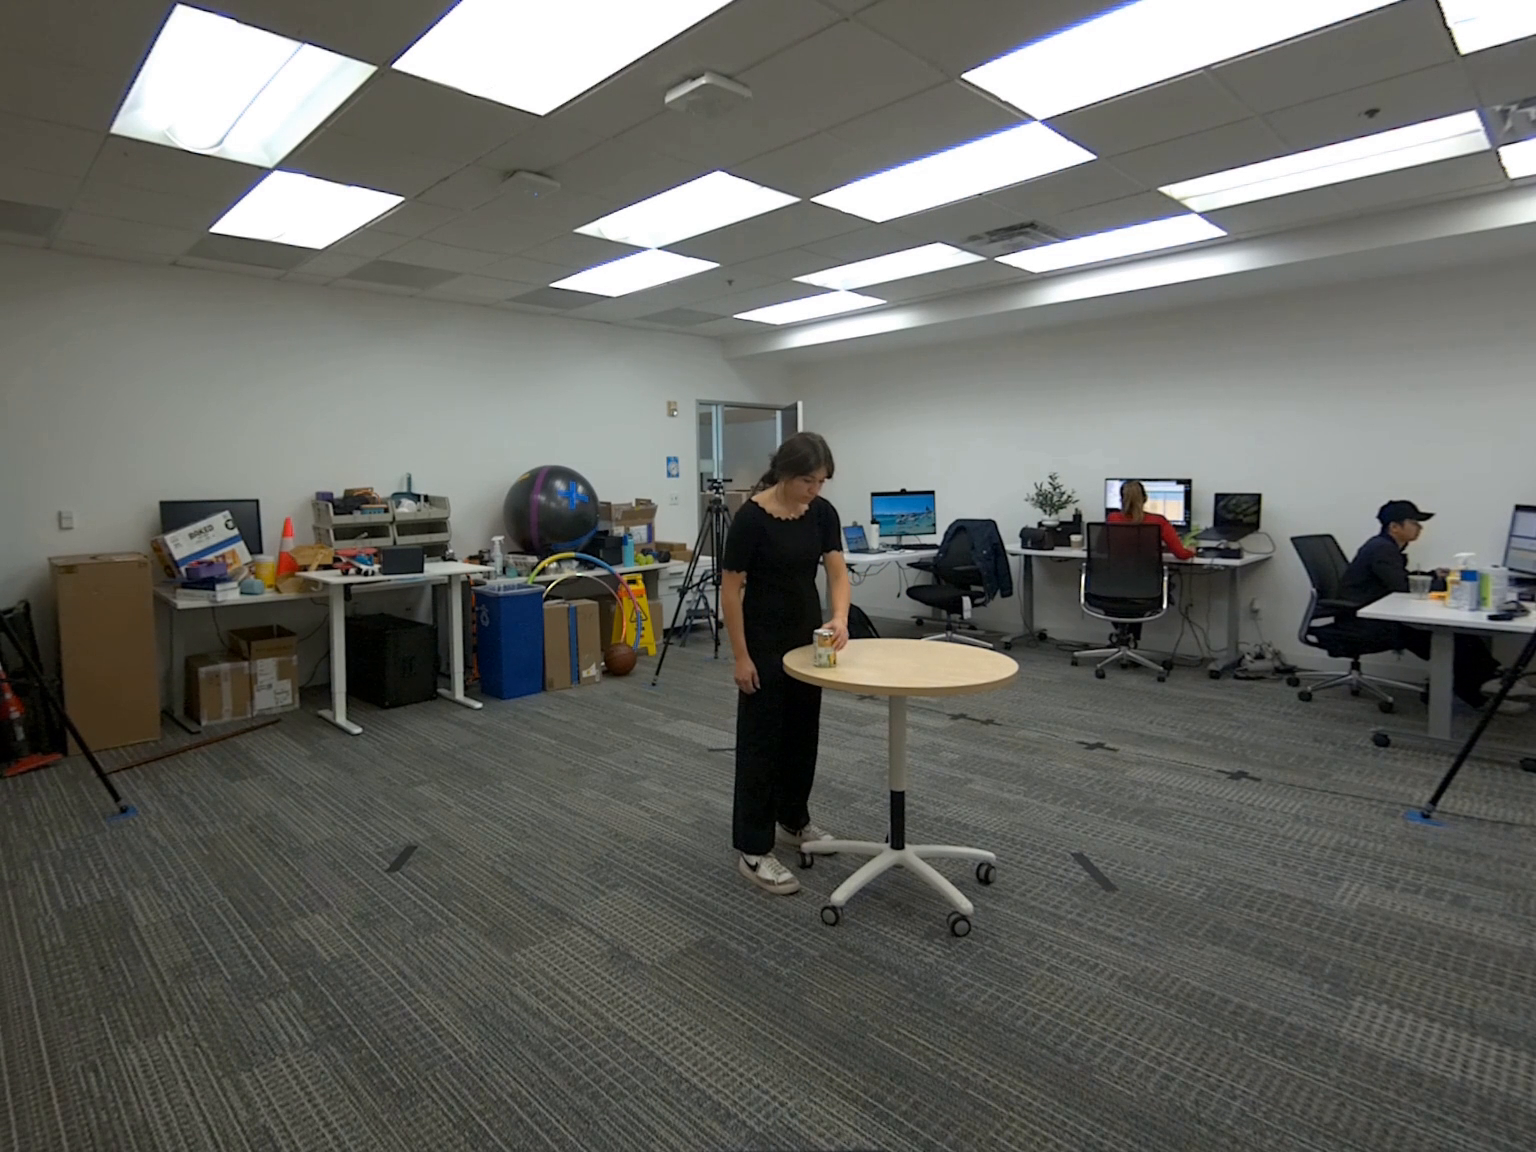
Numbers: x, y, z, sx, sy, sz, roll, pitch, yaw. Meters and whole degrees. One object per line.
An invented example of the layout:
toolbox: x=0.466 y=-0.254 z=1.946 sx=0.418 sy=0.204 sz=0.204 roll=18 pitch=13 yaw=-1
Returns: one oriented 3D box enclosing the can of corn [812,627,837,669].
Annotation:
can of corn: x=0.189 y=0.237 z=2.781 sx=0.074 sy=0.110 sz=0.074 roll=-2 pitch=4 yaw=-1
